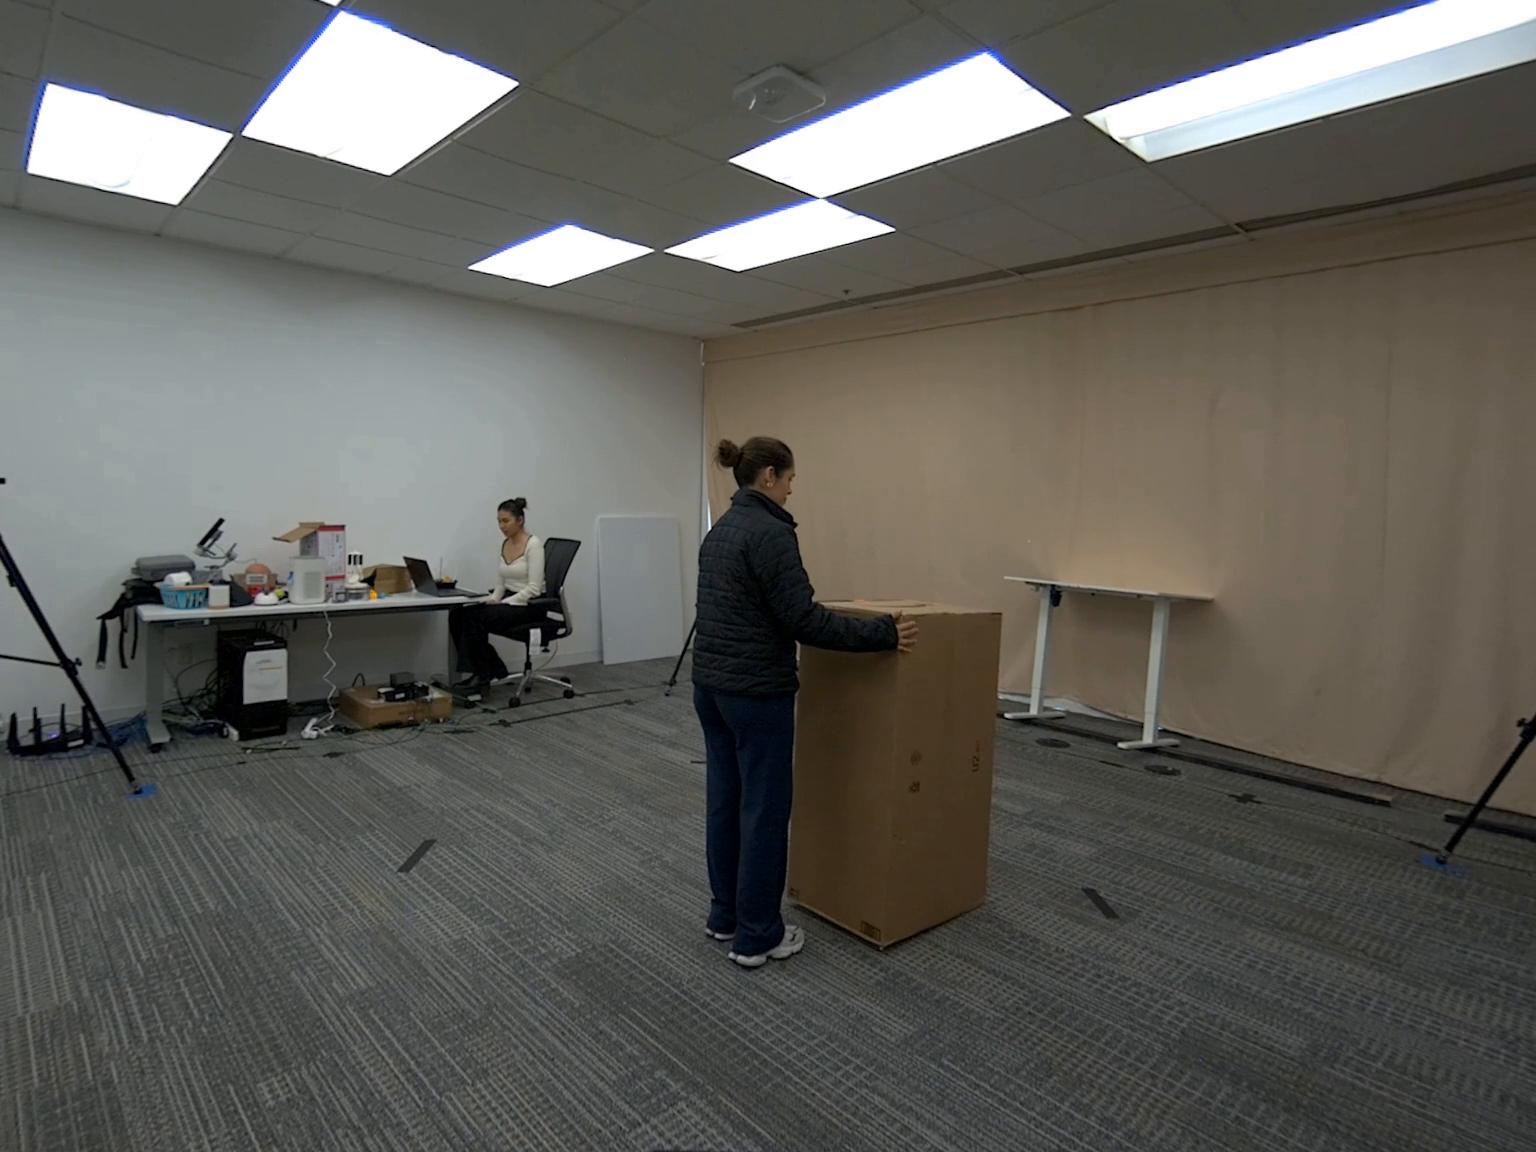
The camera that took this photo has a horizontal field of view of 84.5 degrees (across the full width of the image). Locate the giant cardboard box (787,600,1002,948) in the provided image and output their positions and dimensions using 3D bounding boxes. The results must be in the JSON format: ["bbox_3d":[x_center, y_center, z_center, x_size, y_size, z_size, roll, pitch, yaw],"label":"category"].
[{"bbox_3d":[0.439,0.621,2.901,0.563,1.025,0.437,2,2,-42],"label":"giant cardboard box"}]
